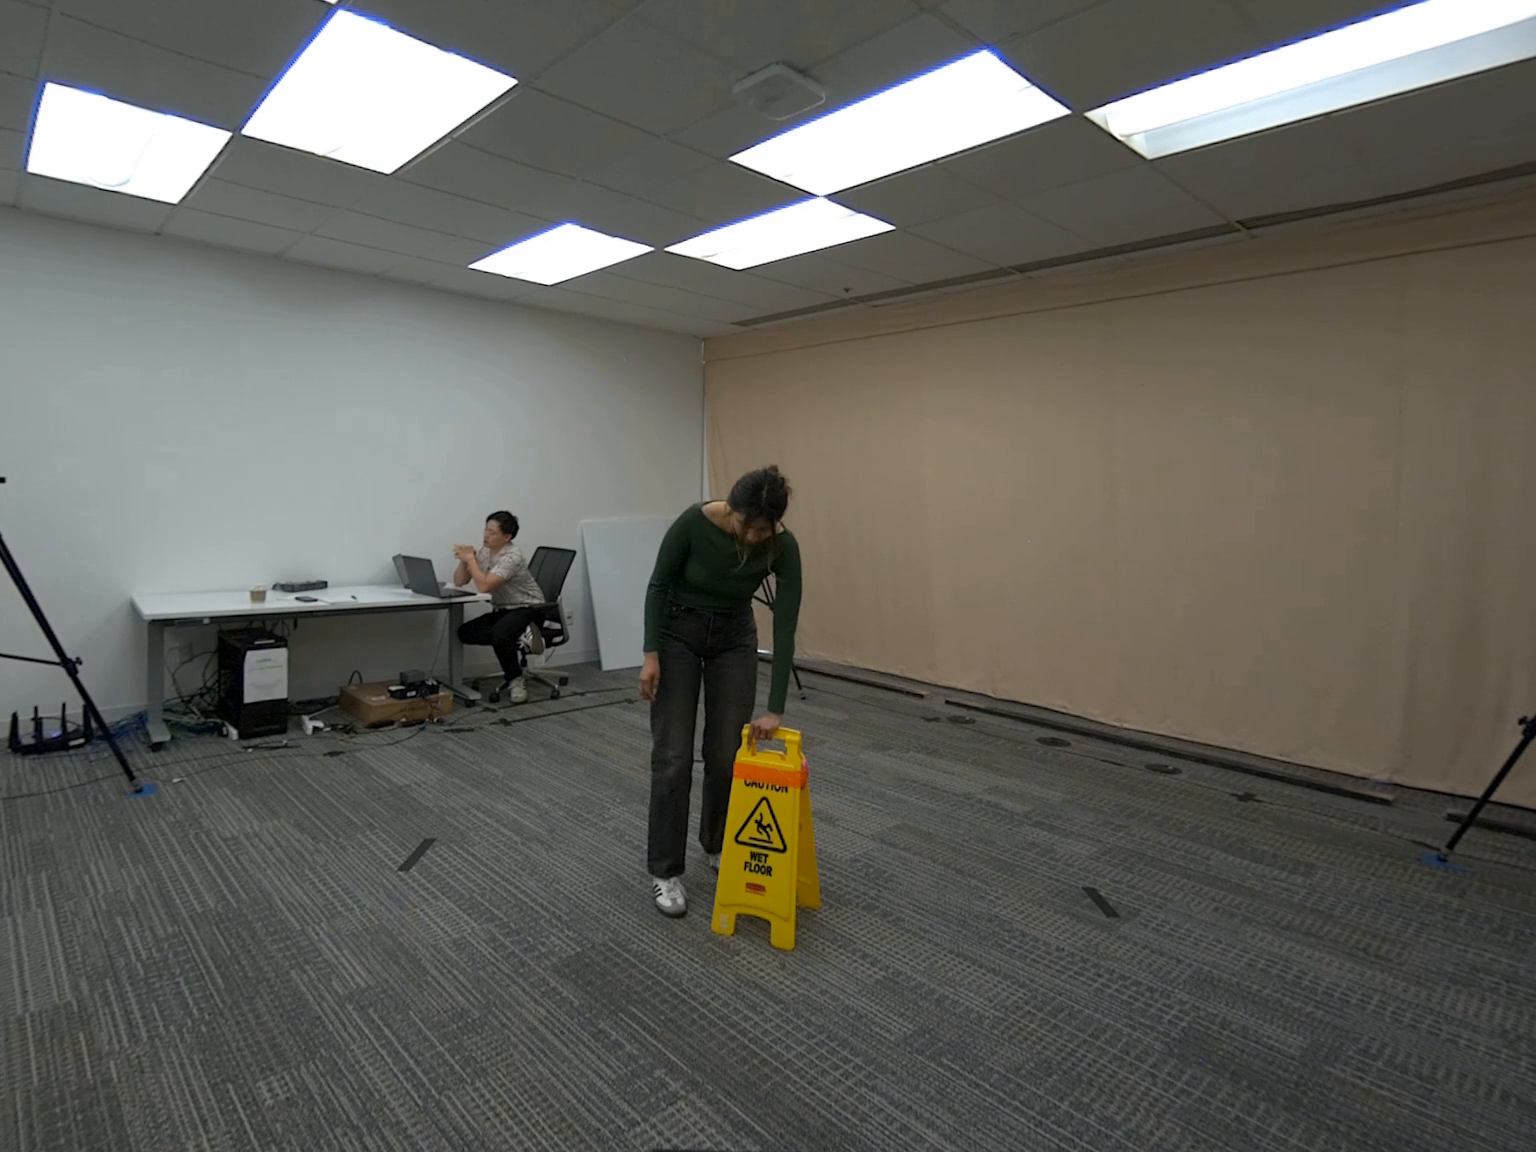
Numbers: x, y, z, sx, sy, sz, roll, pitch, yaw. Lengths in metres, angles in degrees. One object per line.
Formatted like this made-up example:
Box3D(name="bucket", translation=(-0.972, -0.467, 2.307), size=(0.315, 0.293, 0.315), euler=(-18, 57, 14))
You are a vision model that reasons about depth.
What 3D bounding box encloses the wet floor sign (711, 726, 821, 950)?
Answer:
Box3D(name="wet floor sign", translation=(0.006, 0.815, 2.756), size=(0.287, 0.644, 0.285), euler=(3, 4, 21))
